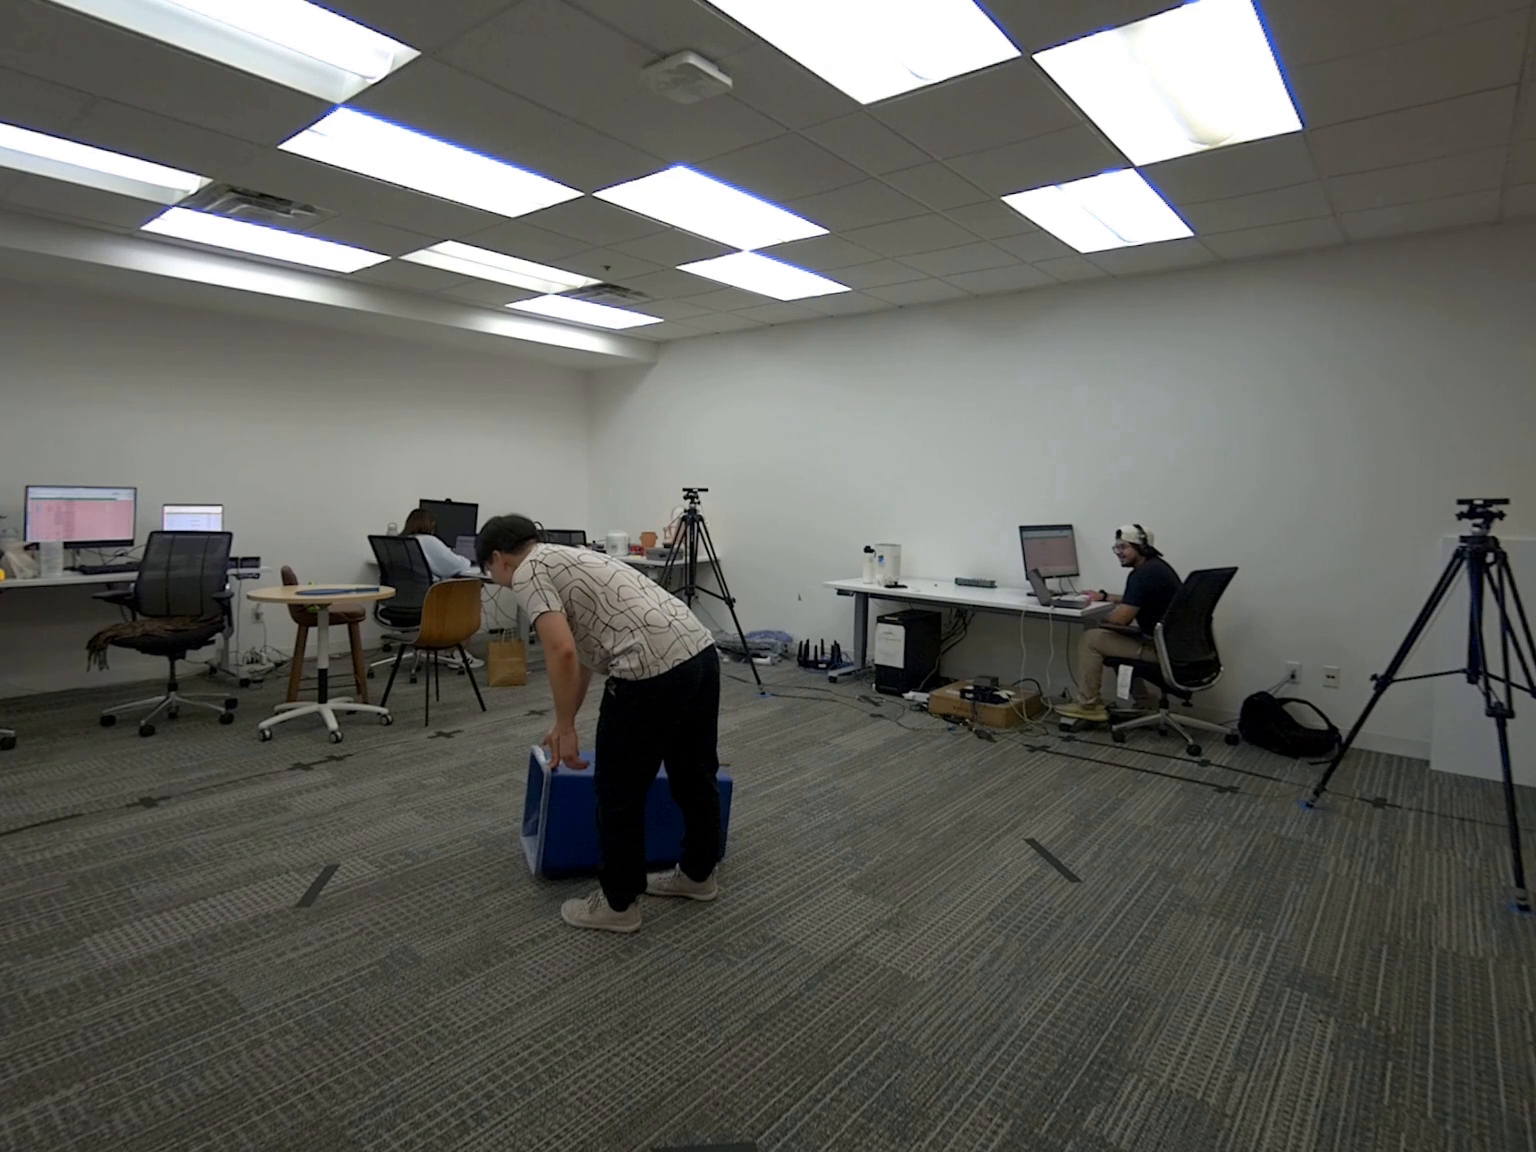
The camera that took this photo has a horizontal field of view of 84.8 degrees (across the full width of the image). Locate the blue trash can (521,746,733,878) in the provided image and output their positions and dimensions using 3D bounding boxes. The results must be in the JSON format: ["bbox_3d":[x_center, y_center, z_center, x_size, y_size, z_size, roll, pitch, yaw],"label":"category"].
[{"bbox_3d":[-0.537,0.862,3.186,0.698,0.374,0.387,6,1,-21],"label":"blue trash can"}]
